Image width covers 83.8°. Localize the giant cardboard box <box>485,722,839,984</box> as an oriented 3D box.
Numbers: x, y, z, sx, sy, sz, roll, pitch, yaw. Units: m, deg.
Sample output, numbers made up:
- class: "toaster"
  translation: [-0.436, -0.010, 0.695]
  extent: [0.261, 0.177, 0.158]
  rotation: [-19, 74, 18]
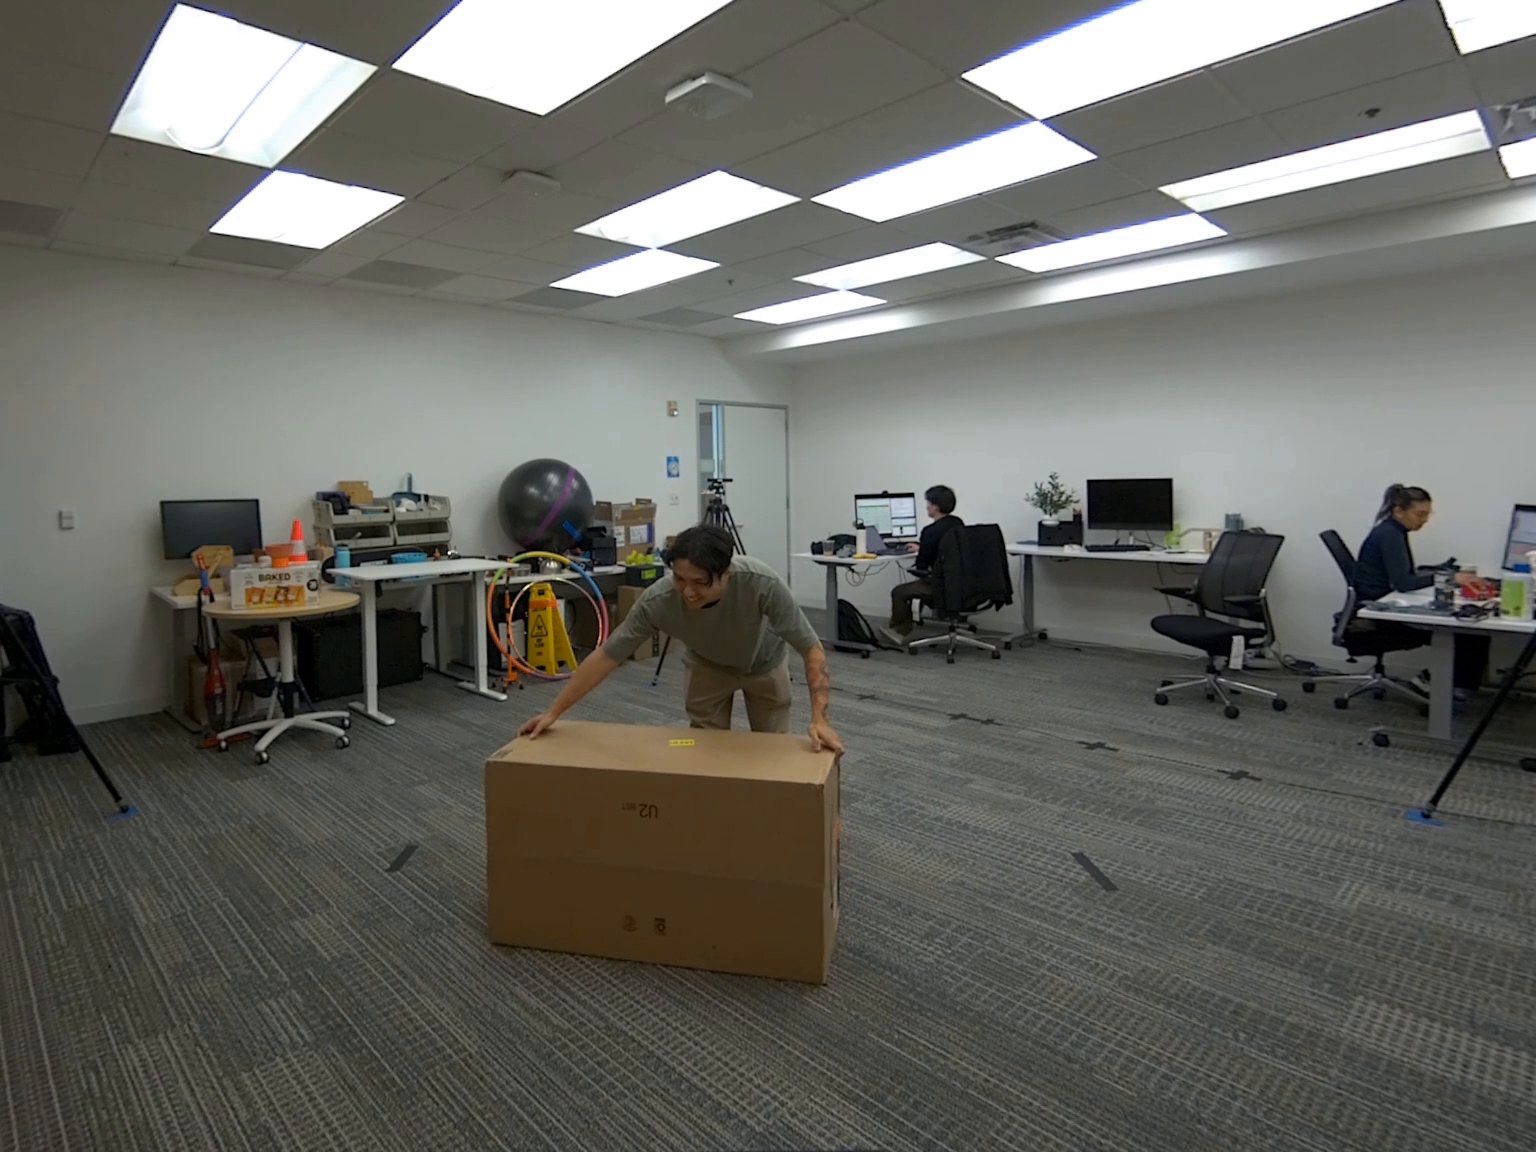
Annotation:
- class: "giant cardboard box"
  translation: [-0.304, 0.804, 2.647]
  extent: [1.040, 0.575, 0.422]
  rotation: [2, 5, 13]
